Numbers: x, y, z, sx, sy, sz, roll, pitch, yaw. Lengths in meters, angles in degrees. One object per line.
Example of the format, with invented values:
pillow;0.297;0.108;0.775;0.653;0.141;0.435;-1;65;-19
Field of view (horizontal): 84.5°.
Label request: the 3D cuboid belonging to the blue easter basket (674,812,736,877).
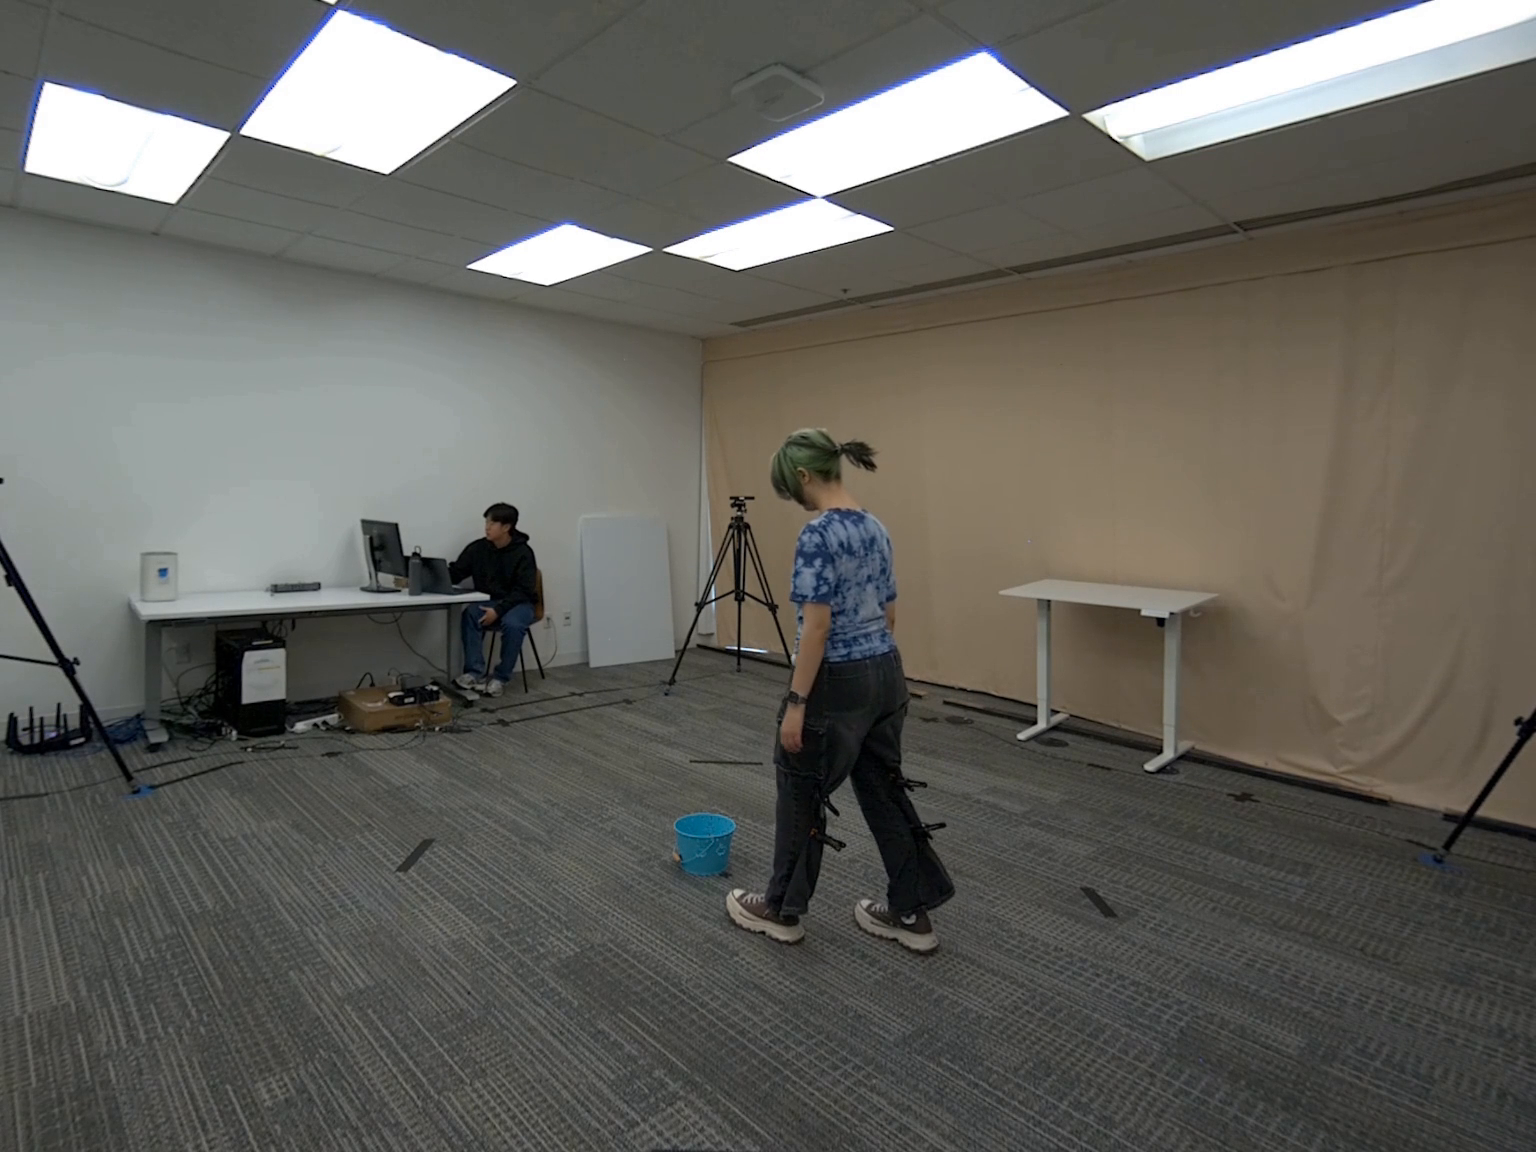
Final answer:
blue easter basket;-0.245;1.015;3.186;0.243;0.155;0.244;1;5;-1
